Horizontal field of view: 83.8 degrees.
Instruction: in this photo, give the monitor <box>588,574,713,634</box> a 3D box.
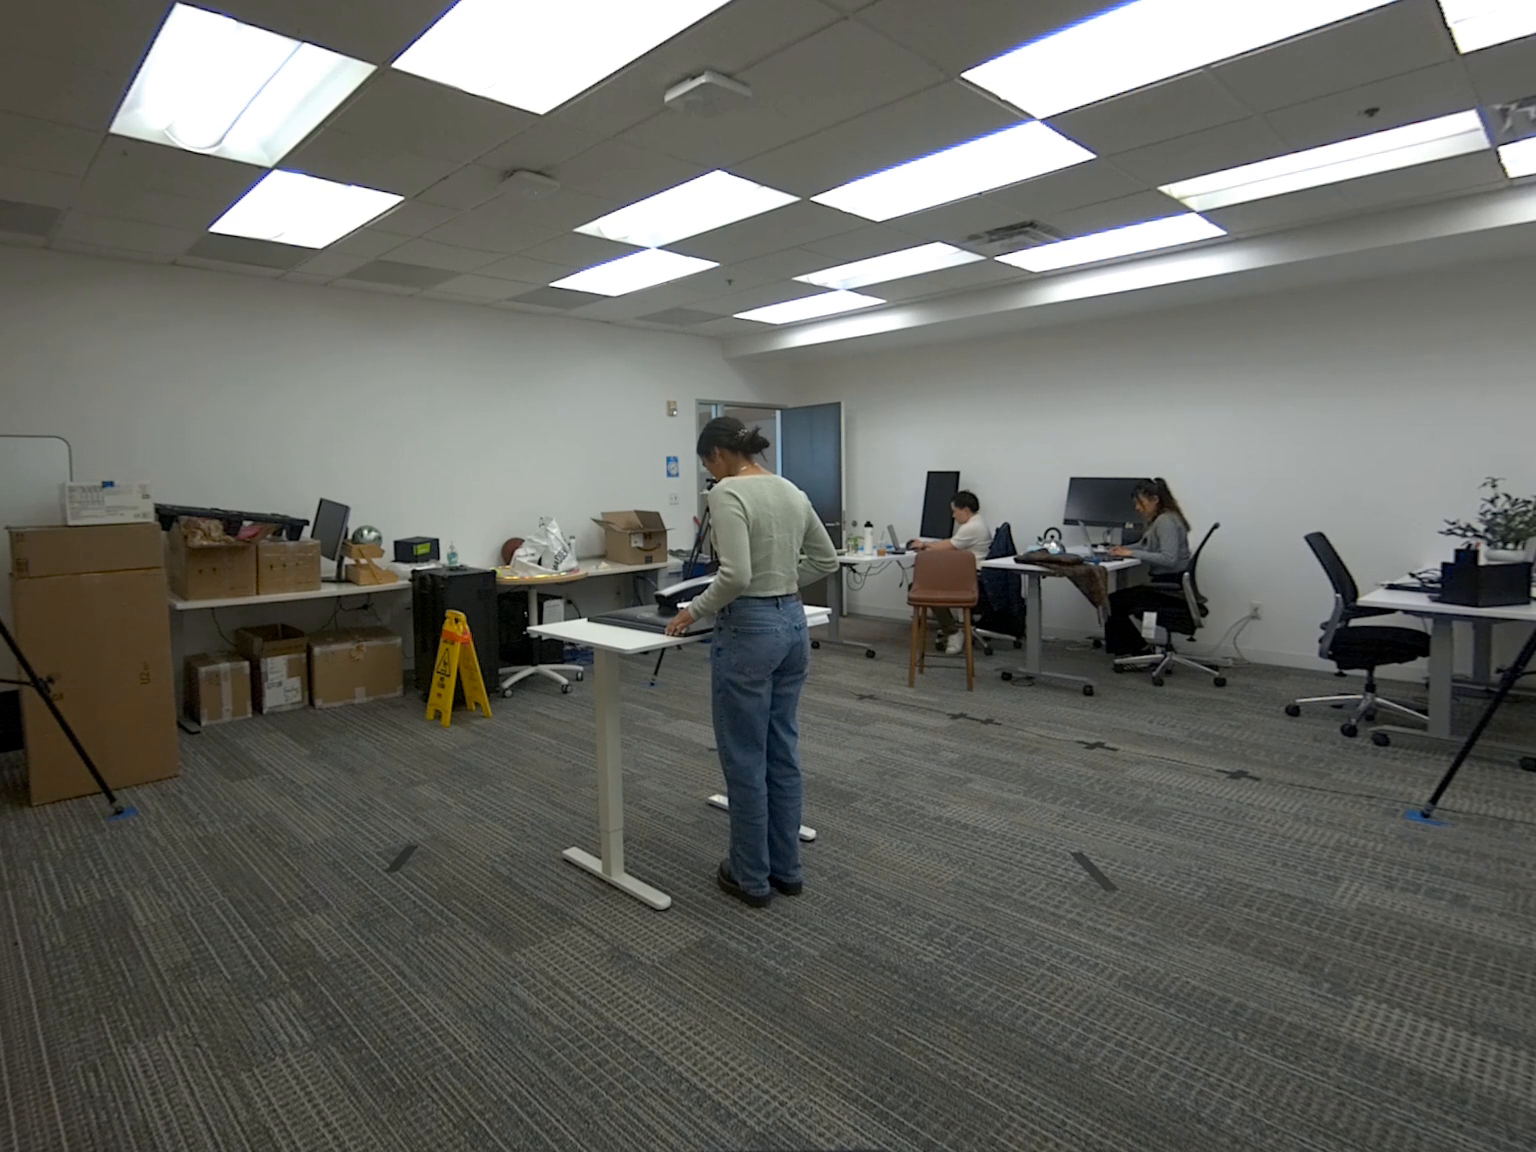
[{"bbox_3d":[-0.300,0.102,3.154,0.555,0.184,0.515,1,20,46],"label":"monitor"}]
